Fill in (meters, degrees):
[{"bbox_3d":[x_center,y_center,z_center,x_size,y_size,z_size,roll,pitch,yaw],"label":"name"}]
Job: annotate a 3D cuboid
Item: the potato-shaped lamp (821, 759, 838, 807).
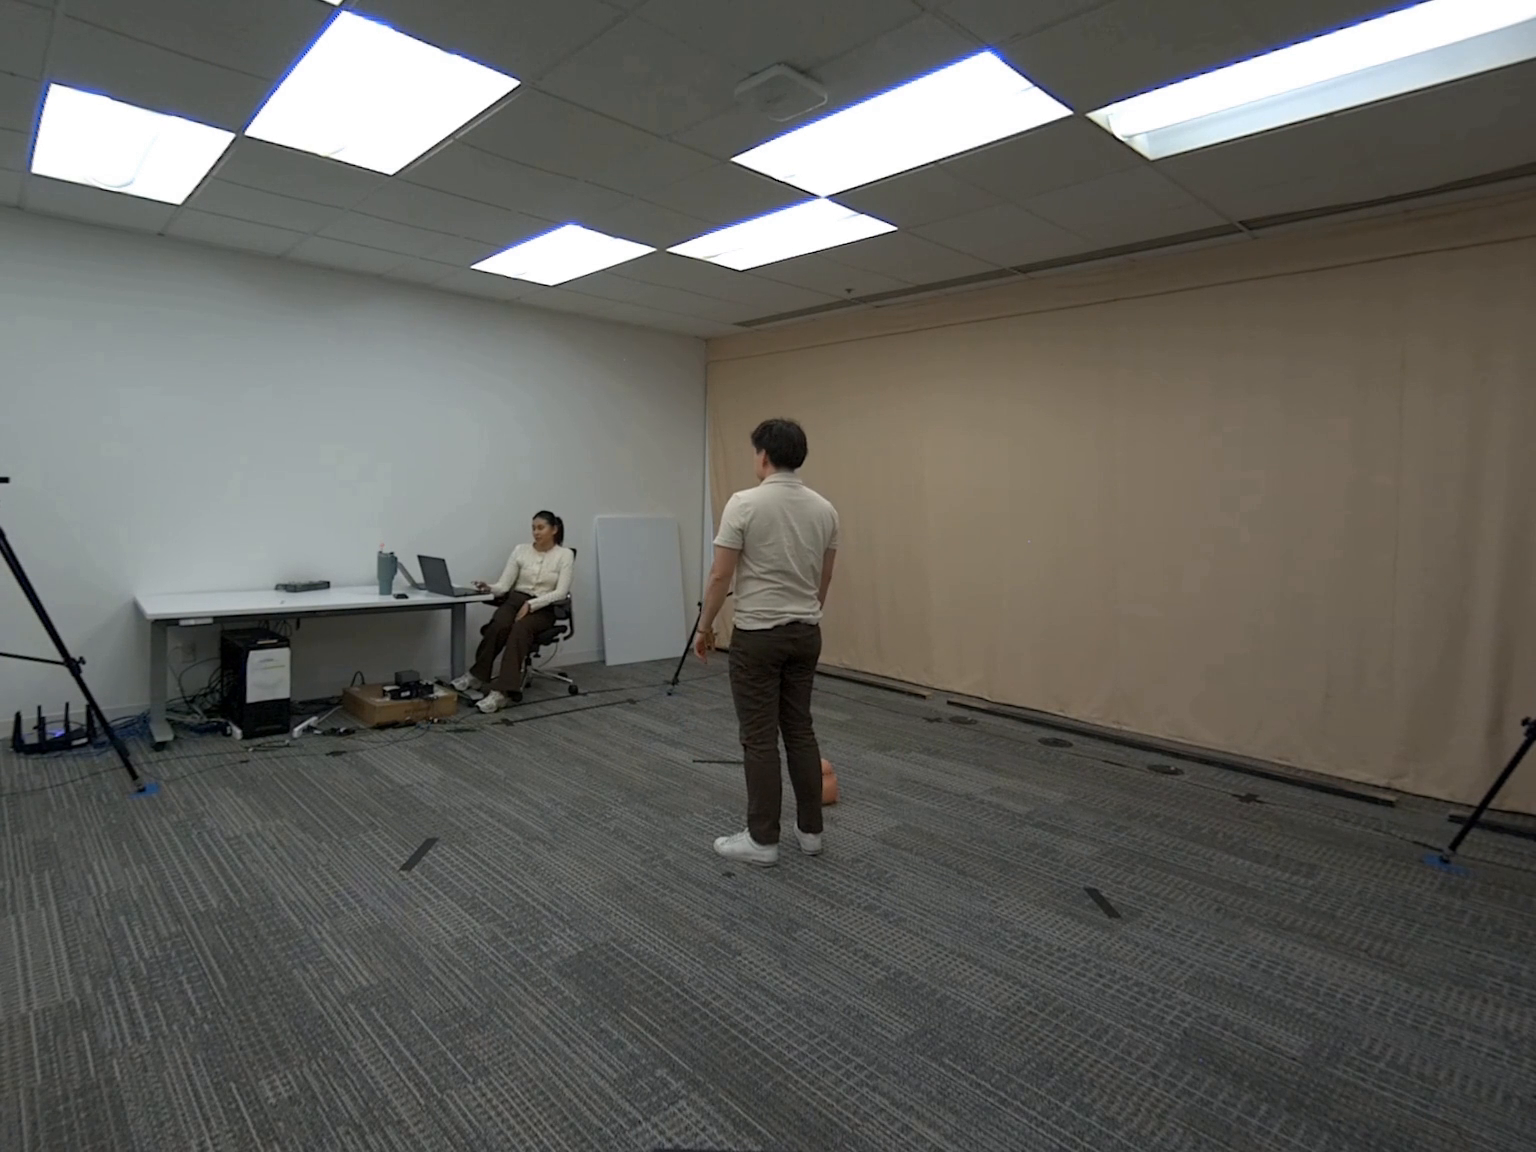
[{"bbox_3d":[0.227,0.944,3.903,0.161,0.198,0.175,-2,3,-33],"label":"potato-shaped lamp"}]
